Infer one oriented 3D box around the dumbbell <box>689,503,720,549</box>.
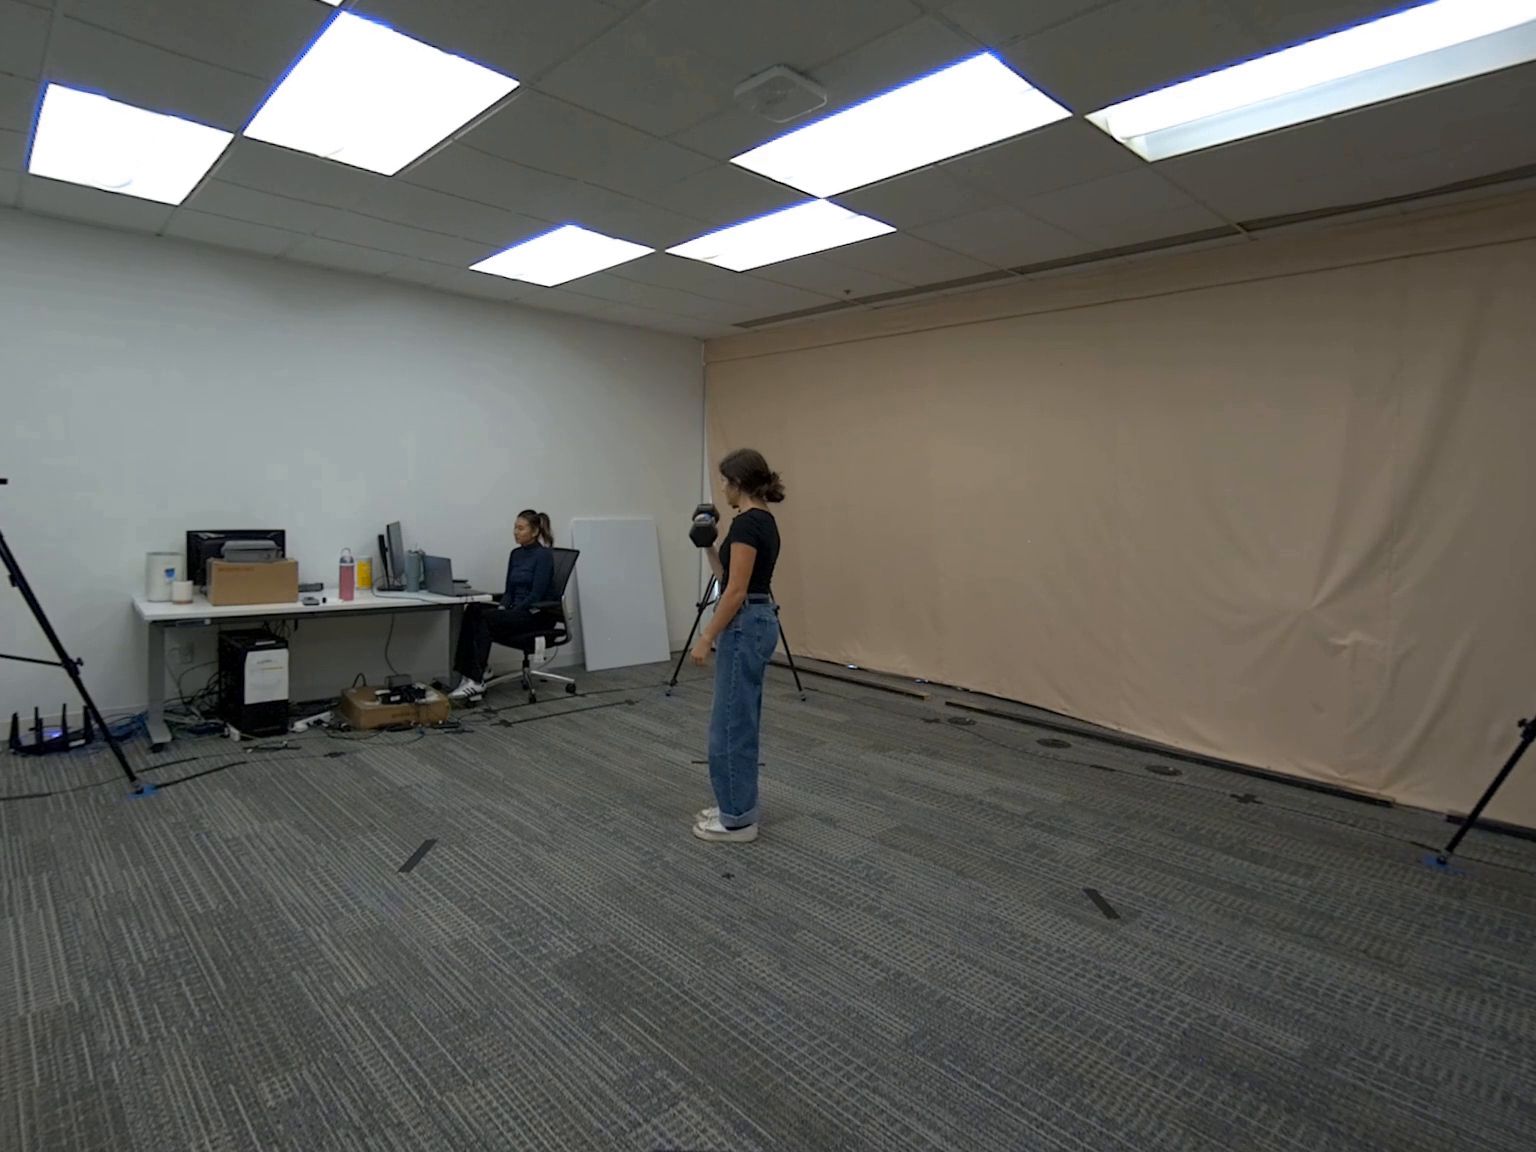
[{"bbox_3d":[-0.278,-0.216,3.628,0.109,0.120,0.298,-28,20,10],"label":"dumbbell"}]
